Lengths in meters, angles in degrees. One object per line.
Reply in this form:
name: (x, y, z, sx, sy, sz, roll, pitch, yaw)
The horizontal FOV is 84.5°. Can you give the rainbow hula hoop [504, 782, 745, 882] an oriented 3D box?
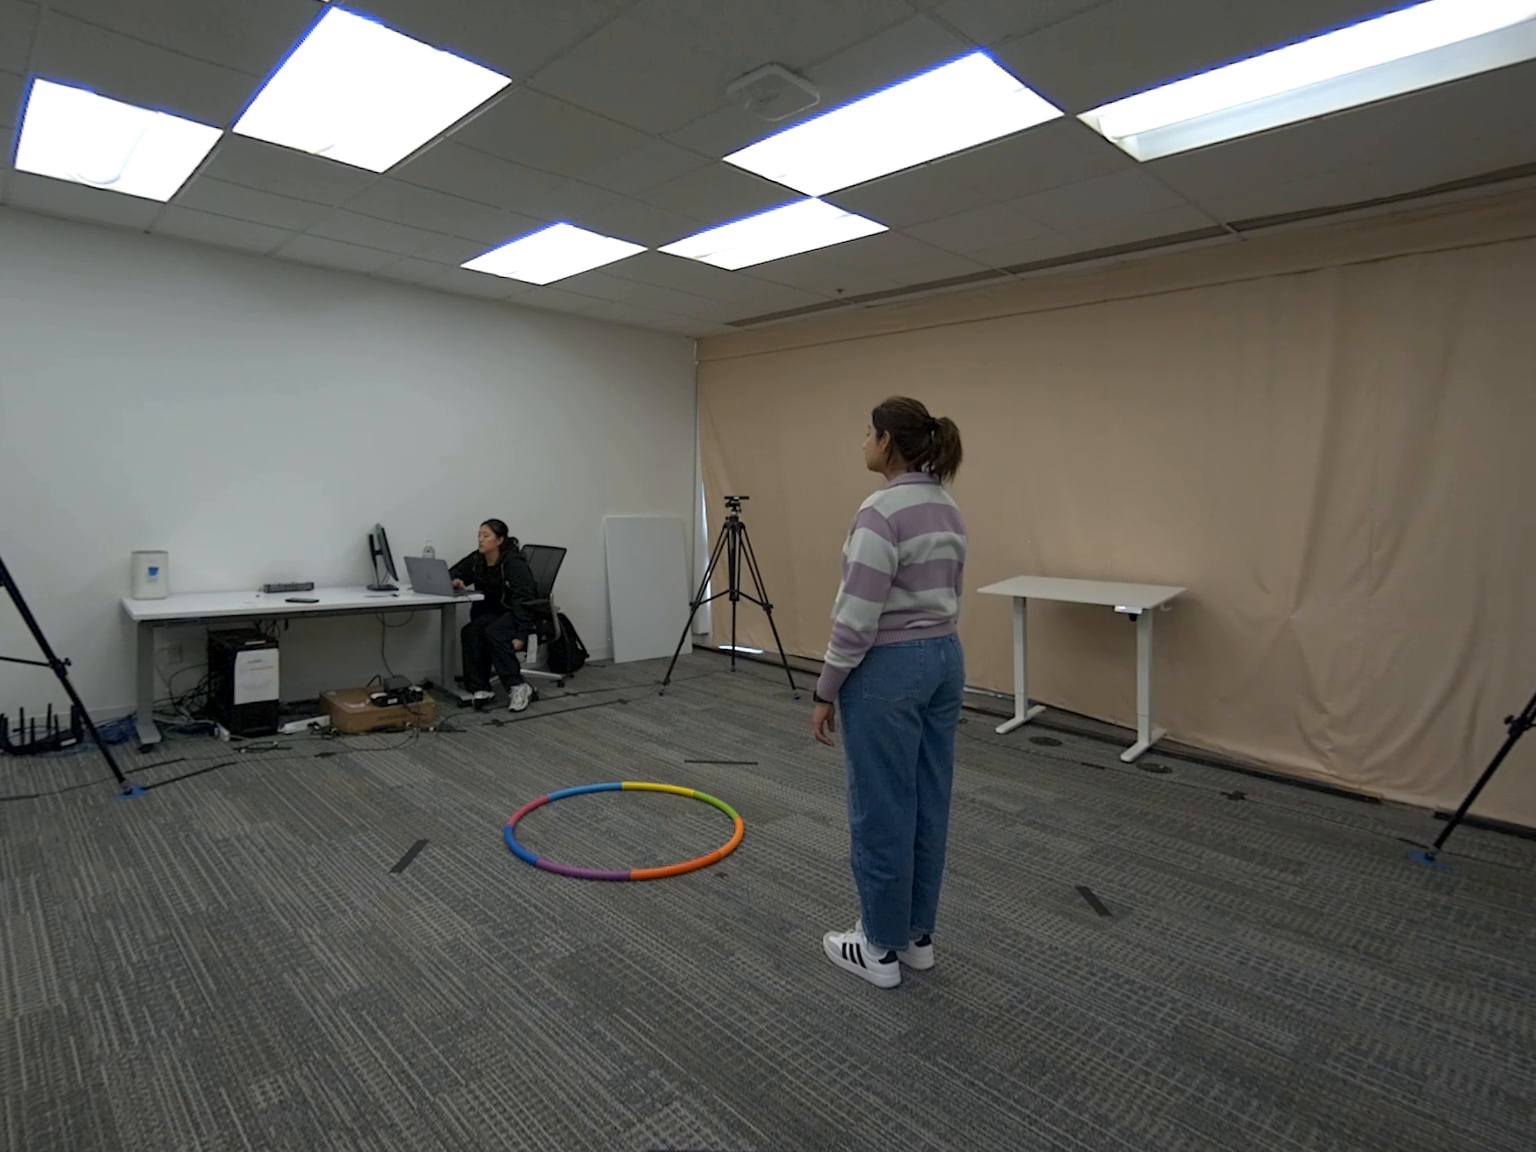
rainbow hula hoop: (-0.599, 1.028, 3.516, 0.978, 0.035, 0.982, 2, 5, -1)
